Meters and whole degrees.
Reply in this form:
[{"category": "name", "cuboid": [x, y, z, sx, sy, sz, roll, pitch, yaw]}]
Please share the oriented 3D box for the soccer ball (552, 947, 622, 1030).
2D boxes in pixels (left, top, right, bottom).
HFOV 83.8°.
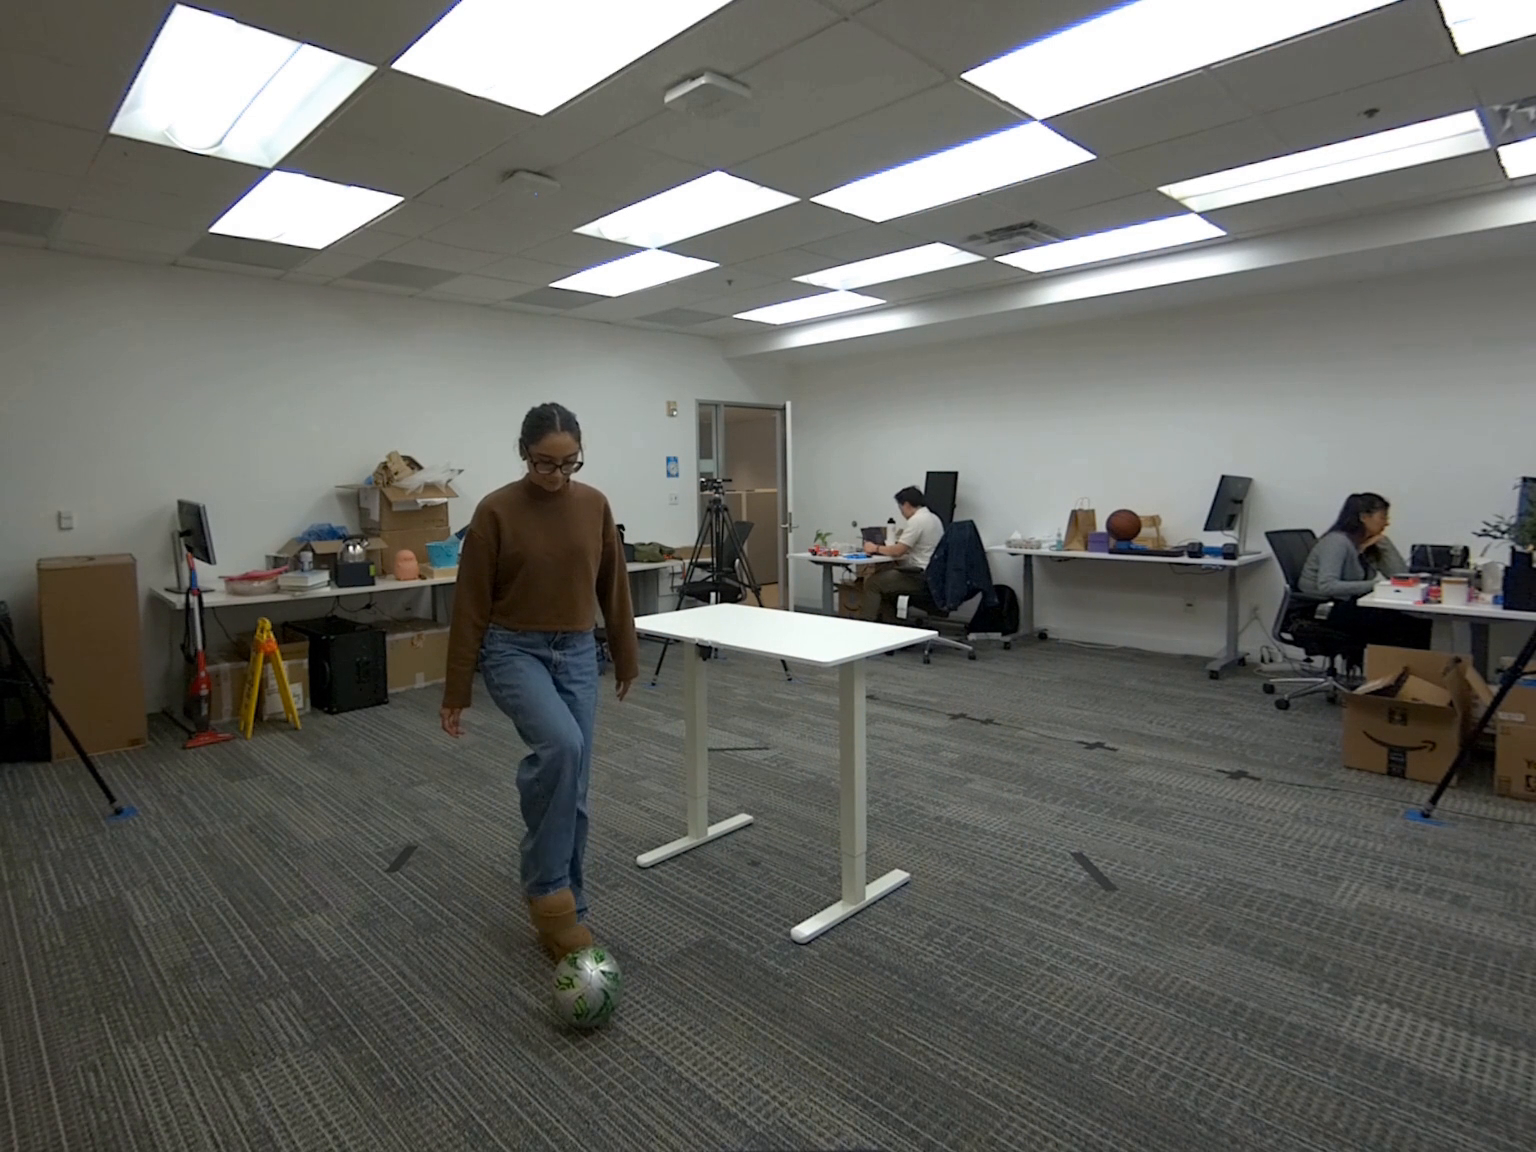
[{"category": "soccer ball", "cuboid": [-0.460, 1.067, 2.210, 0.187, 0.187, 0.188, -1, 5, -2]}]
